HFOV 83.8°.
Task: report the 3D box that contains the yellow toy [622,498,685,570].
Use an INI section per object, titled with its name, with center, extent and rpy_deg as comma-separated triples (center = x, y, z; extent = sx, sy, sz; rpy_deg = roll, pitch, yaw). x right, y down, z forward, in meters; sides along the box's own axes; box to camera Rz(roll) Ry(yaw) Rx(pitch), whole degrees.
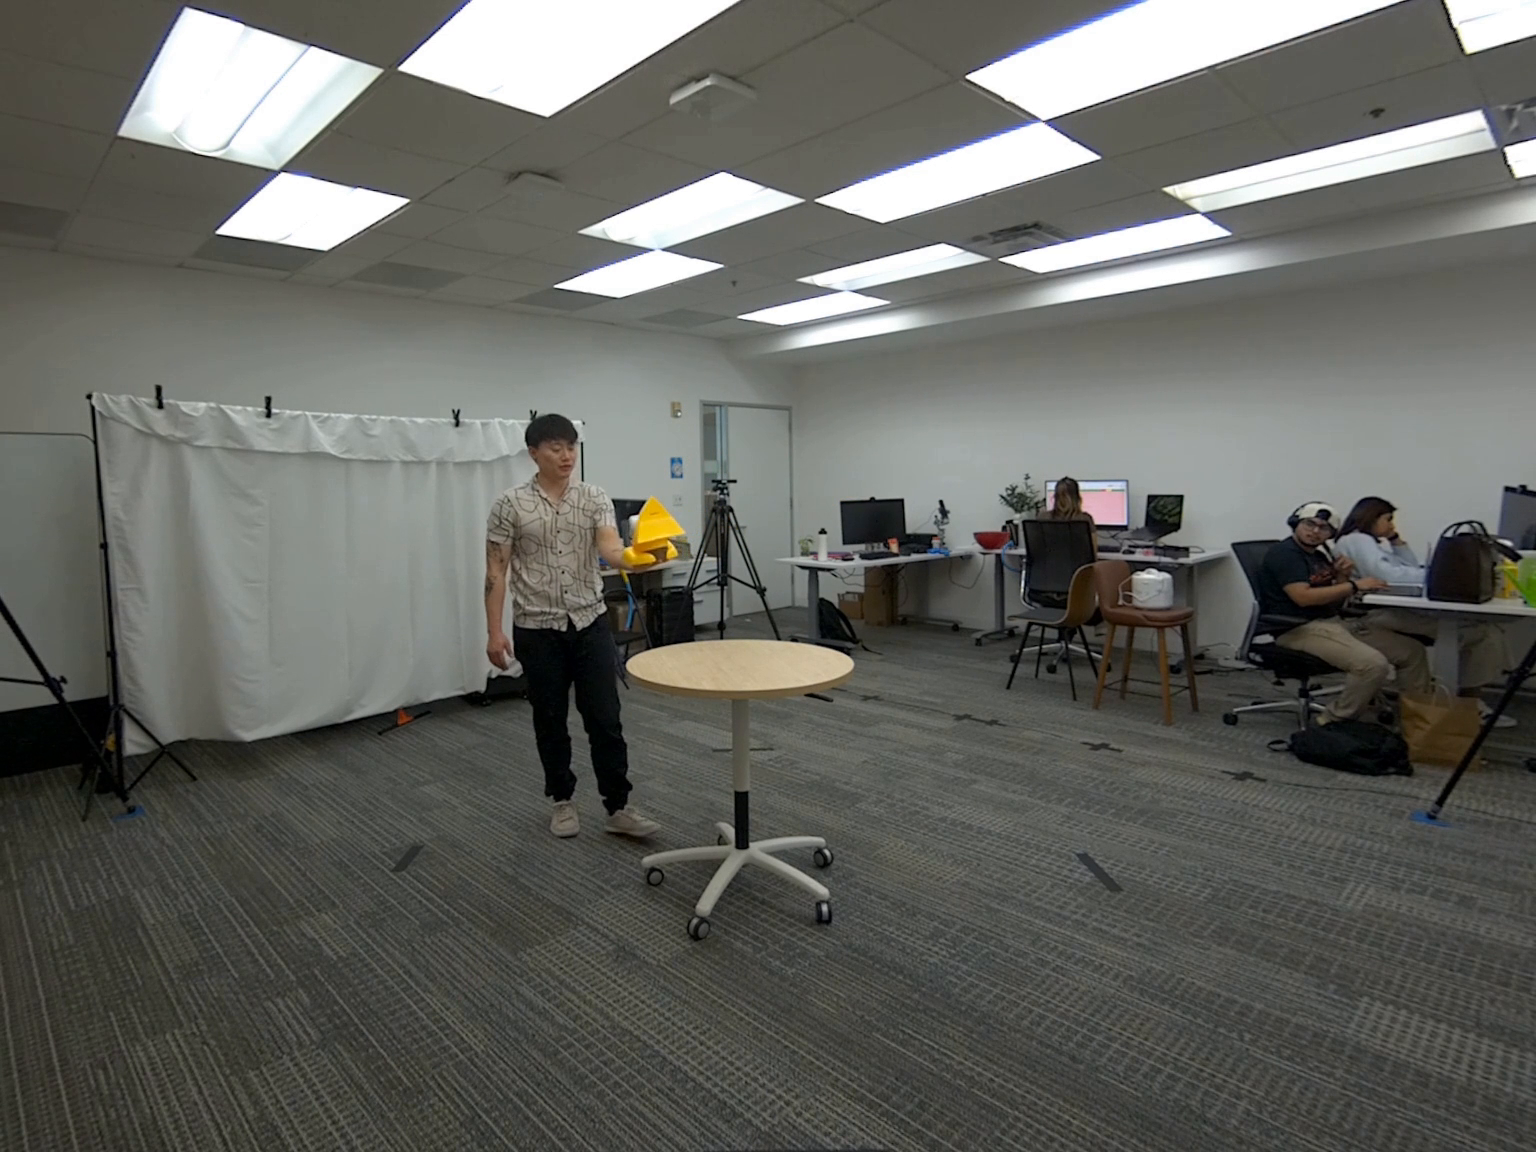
[yellow toy]
center = -0.438, -0.171, 3.081
extent = 0.200, 0.229, 0.199
rpy_deg = -13, 10, -38
